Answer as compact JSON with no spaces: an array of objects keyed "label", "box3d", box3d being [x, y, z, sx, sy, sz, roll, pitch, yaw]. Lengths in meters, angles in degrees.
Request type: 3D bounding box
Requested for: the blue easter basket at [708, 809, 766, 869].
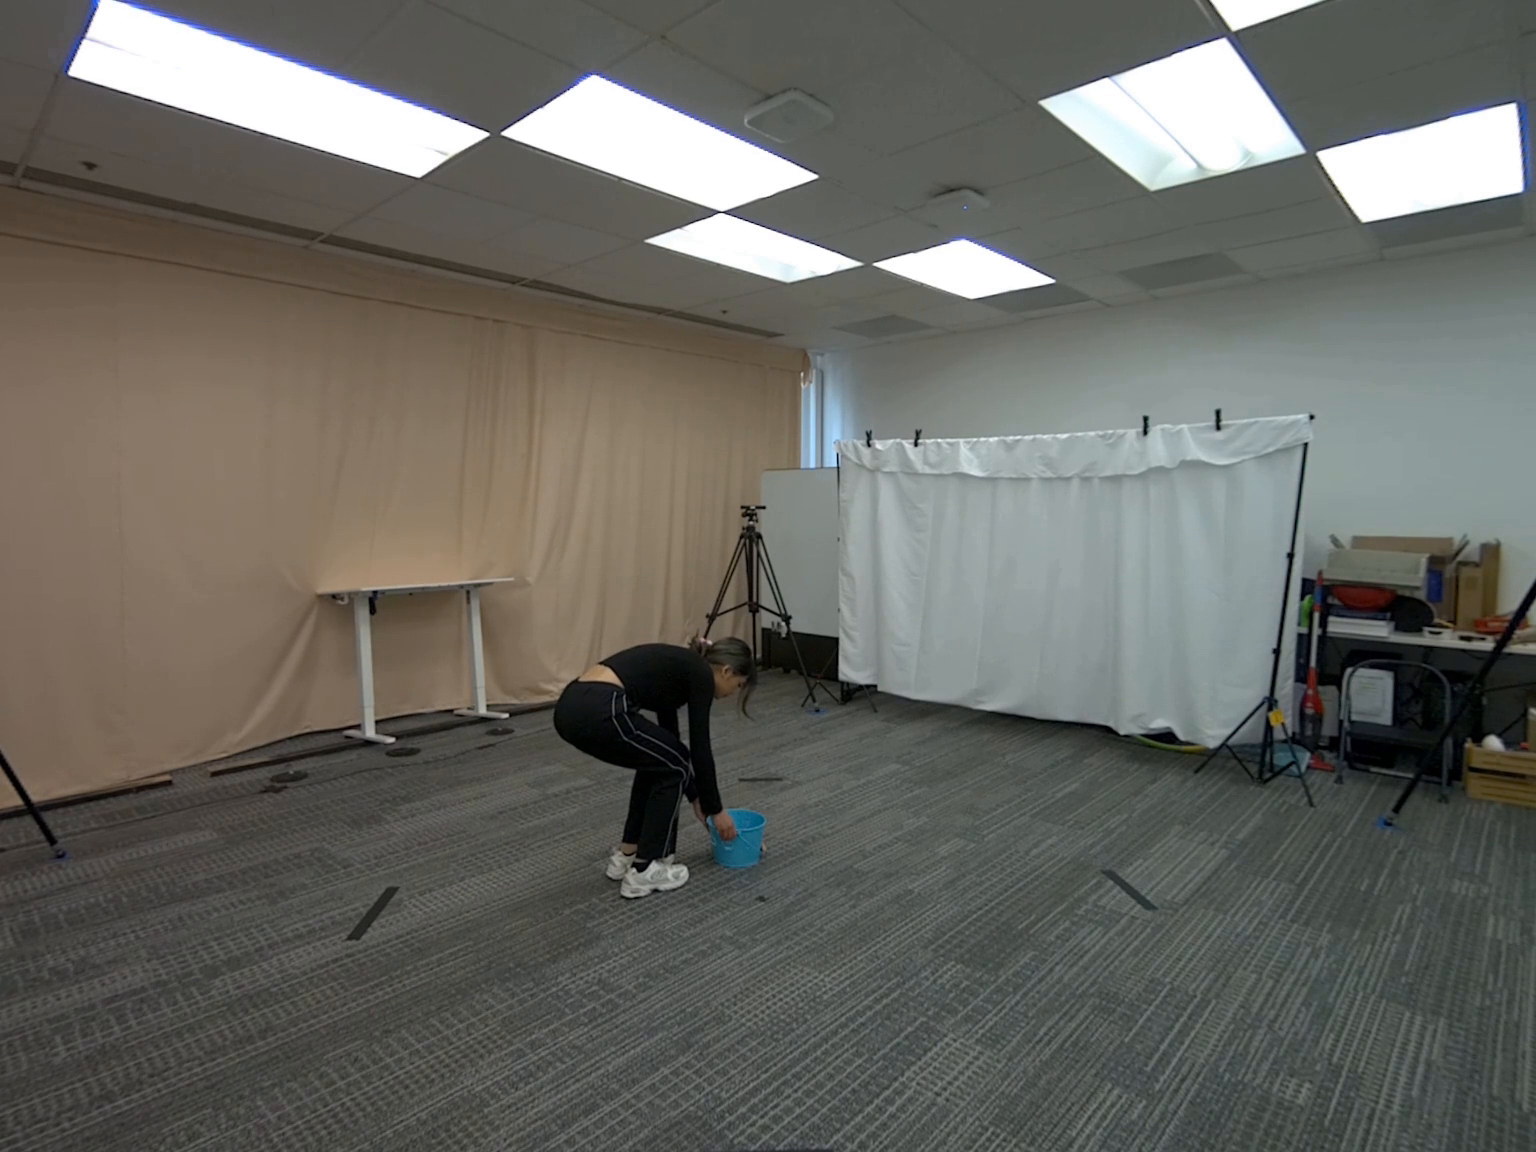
[{"label":"blue easter basket","box3d":[-0.120,1.041,3.328,0.243,0.155,0.244,0,4,-2]}]
